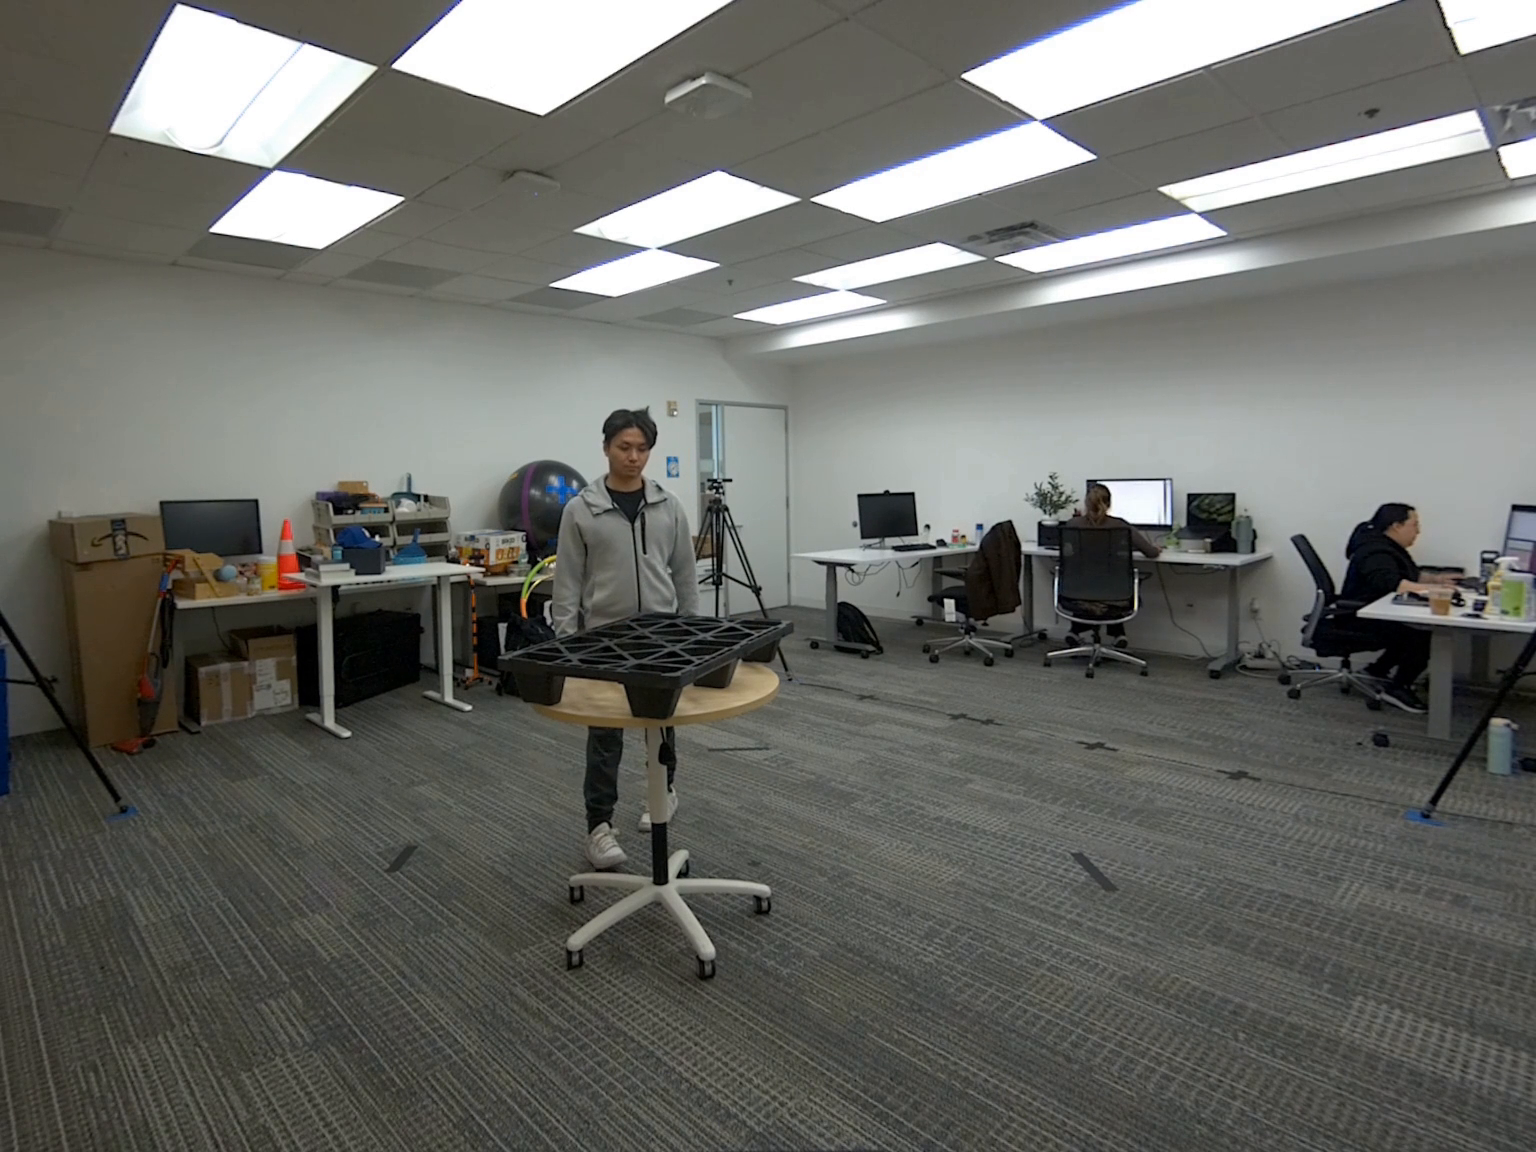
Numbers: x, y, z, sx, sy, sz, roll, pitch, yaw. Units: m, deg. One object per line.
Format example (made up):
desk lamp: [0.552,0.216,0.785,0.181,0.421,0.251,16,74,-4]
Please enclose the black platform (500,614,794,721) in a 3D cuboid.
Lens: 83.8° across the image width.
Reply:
black platform: [-0.355,0.254,2.645,0.619,0.142,0.790,1,7,26]
